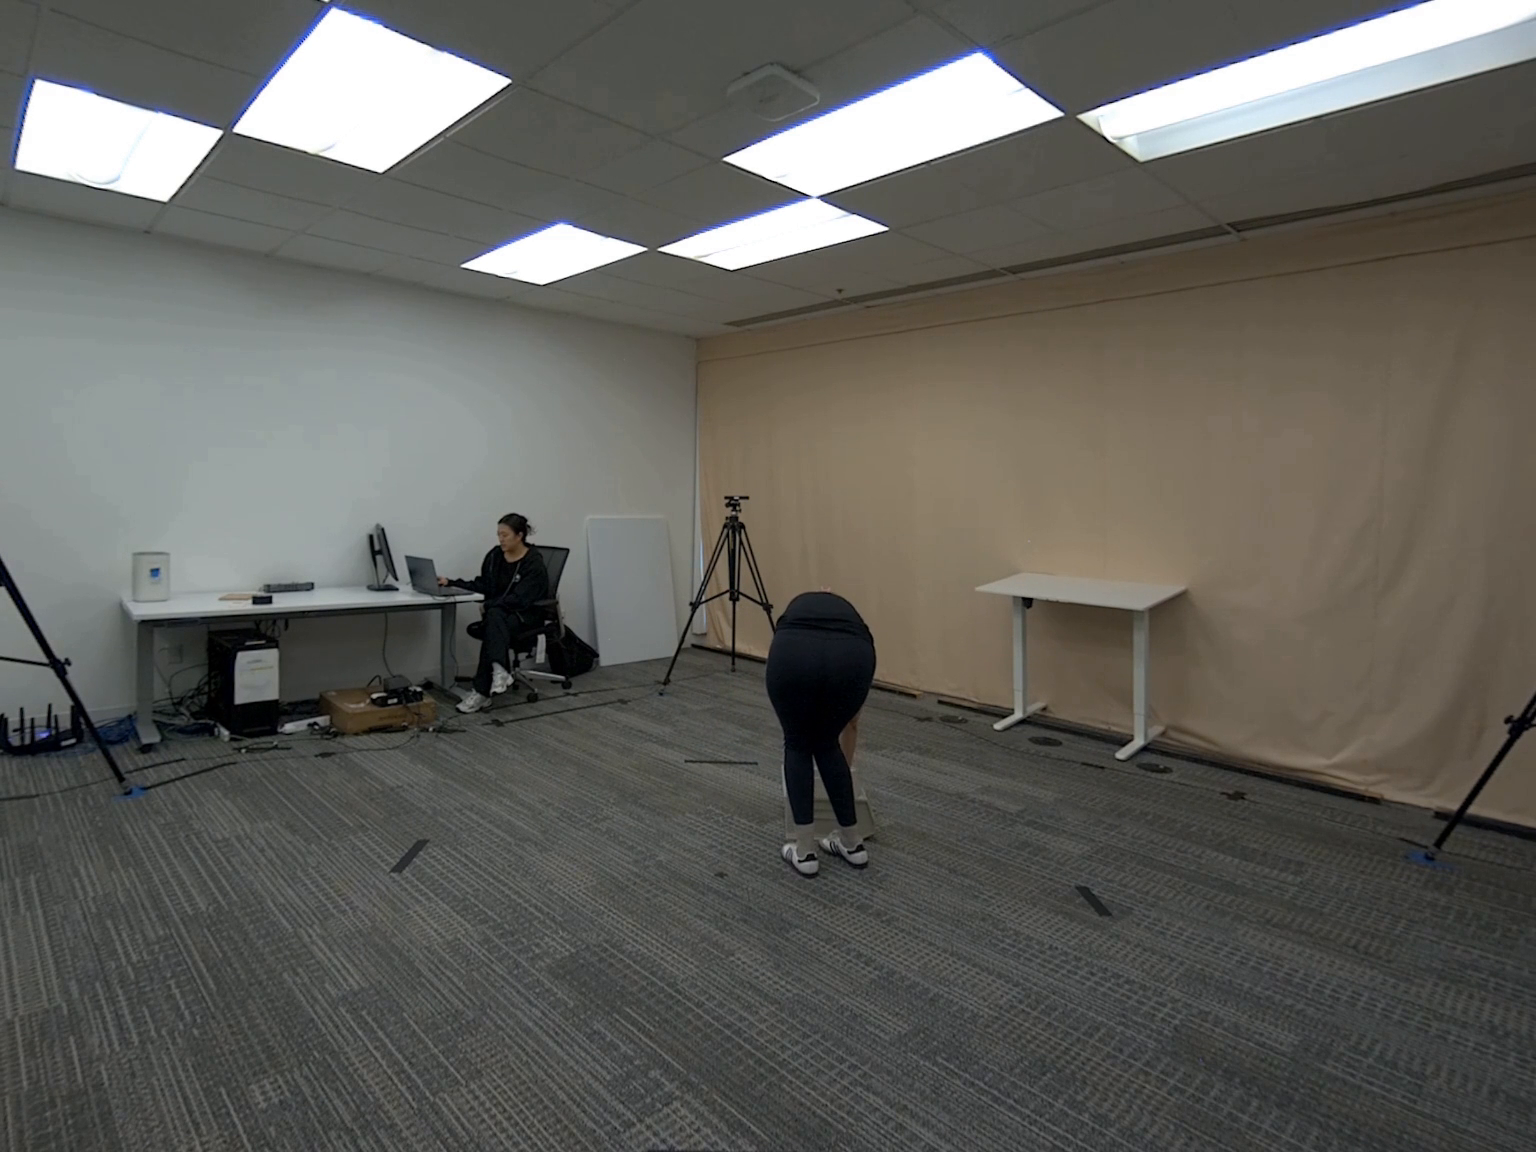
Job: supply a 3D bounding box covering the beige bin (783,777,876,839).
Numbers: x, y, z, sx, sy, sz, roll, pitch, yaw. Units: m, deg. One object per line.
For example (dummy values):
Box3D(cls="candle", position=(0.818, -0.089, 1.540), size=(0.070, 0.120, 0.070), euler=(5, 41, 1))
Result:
Box3D(cls="beige bin", position=(0.247, 0.975, 3.643), size=(0.377, 0.188, 0.423), euler=(0, 5, 0))
